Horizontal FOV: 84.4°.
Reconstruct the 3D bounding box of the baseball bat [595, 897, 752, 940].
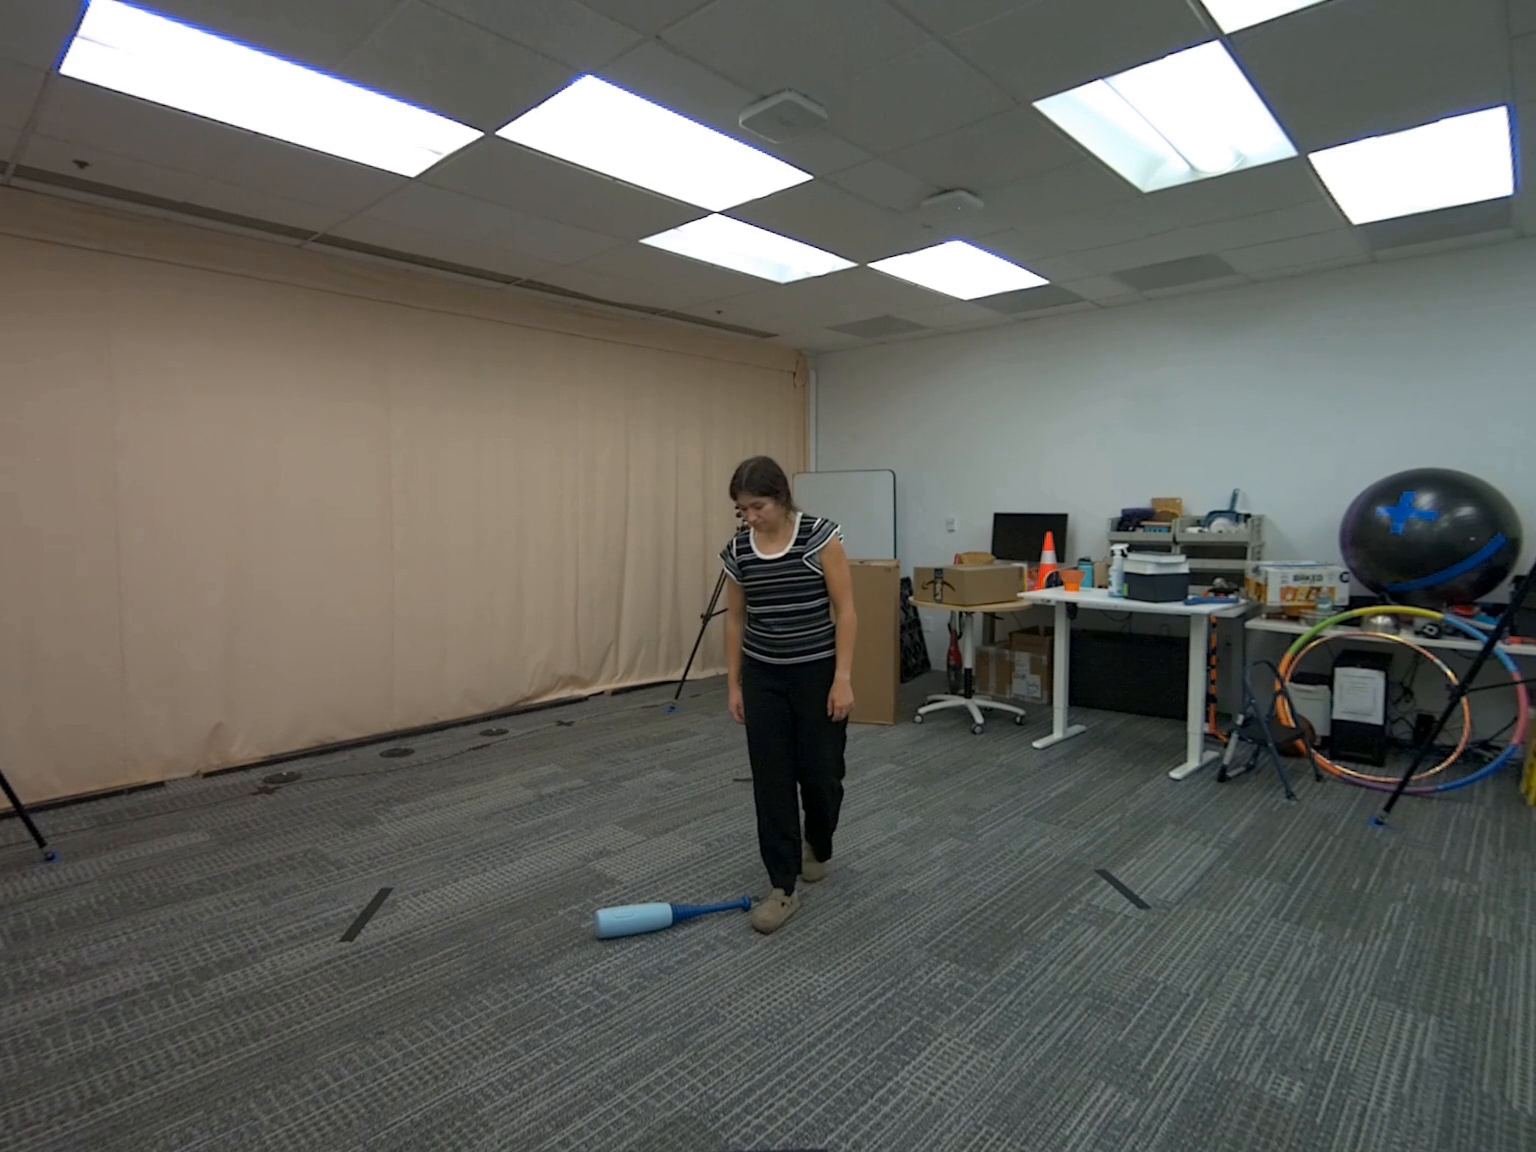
[{"bbox_3d":[-0.302,1.126,2.801,0.531,0.089,0.091,2,3,-21],"label":"baseball bat"}]
